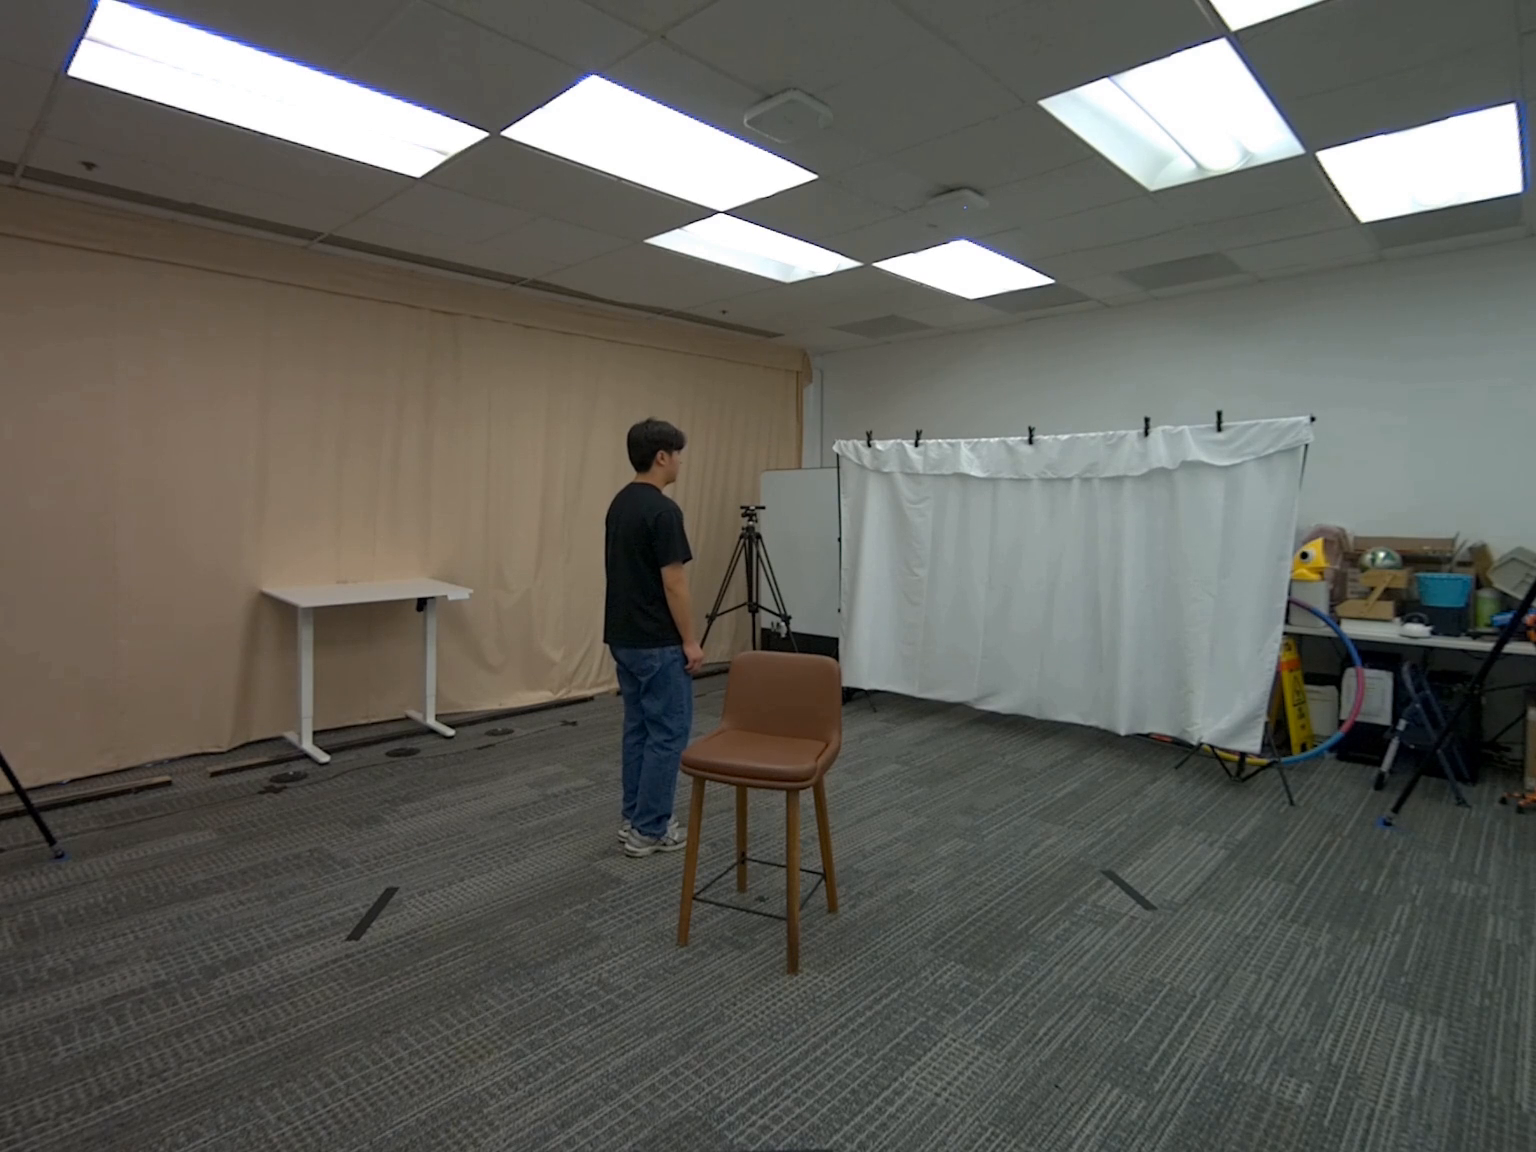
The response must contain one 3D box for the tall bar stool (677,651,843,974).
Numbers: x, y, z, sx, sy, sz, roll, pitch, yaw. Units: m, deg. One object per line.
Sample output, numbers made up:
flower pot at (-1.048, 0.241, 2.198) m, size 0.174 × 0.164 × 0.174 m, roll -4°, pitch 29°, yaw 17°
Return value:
tall bar stool at (-0.007, 0.728, 2.762) m, size 0.469 × 0.889 × 0.456 m, roll 2°, pitch 2°, yaw 26°
